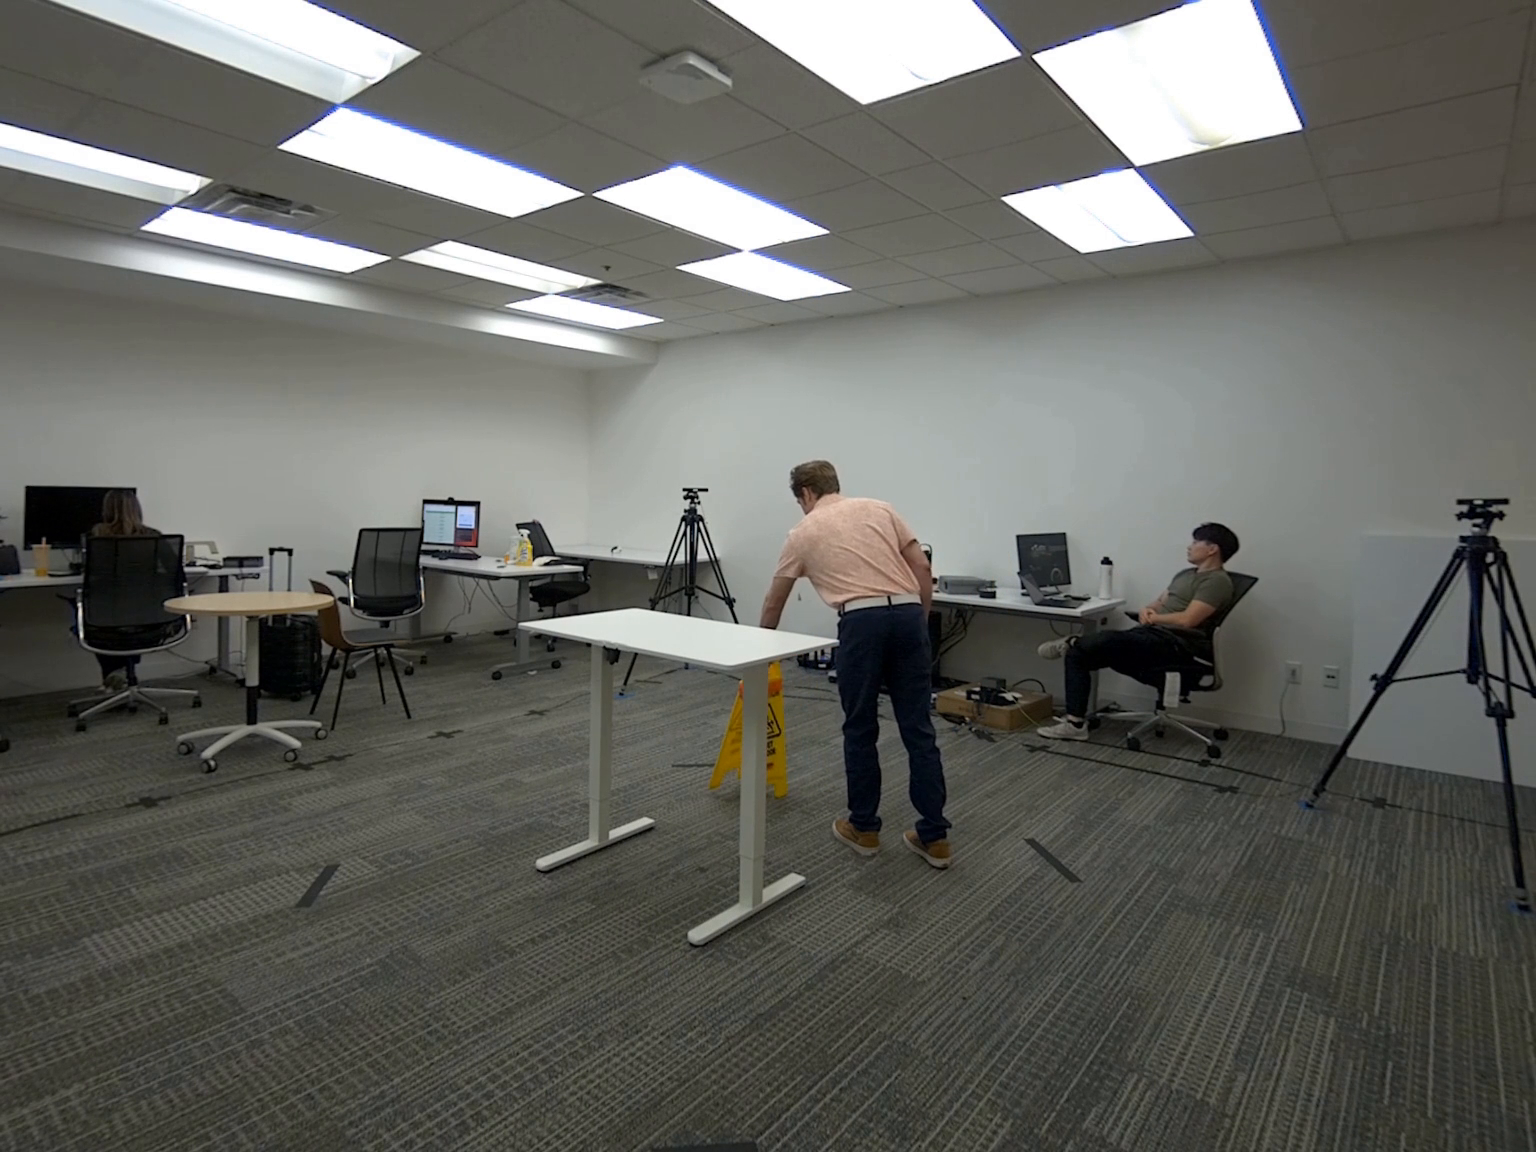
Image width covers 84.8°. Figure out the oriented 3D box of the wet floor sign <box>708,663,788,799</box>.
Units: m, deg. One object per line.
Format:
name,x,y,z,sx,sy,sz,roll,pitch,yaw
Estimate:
wet floor sign,-0.057,0.667,3.843,0.300,0.642,0.274,13,9,38
